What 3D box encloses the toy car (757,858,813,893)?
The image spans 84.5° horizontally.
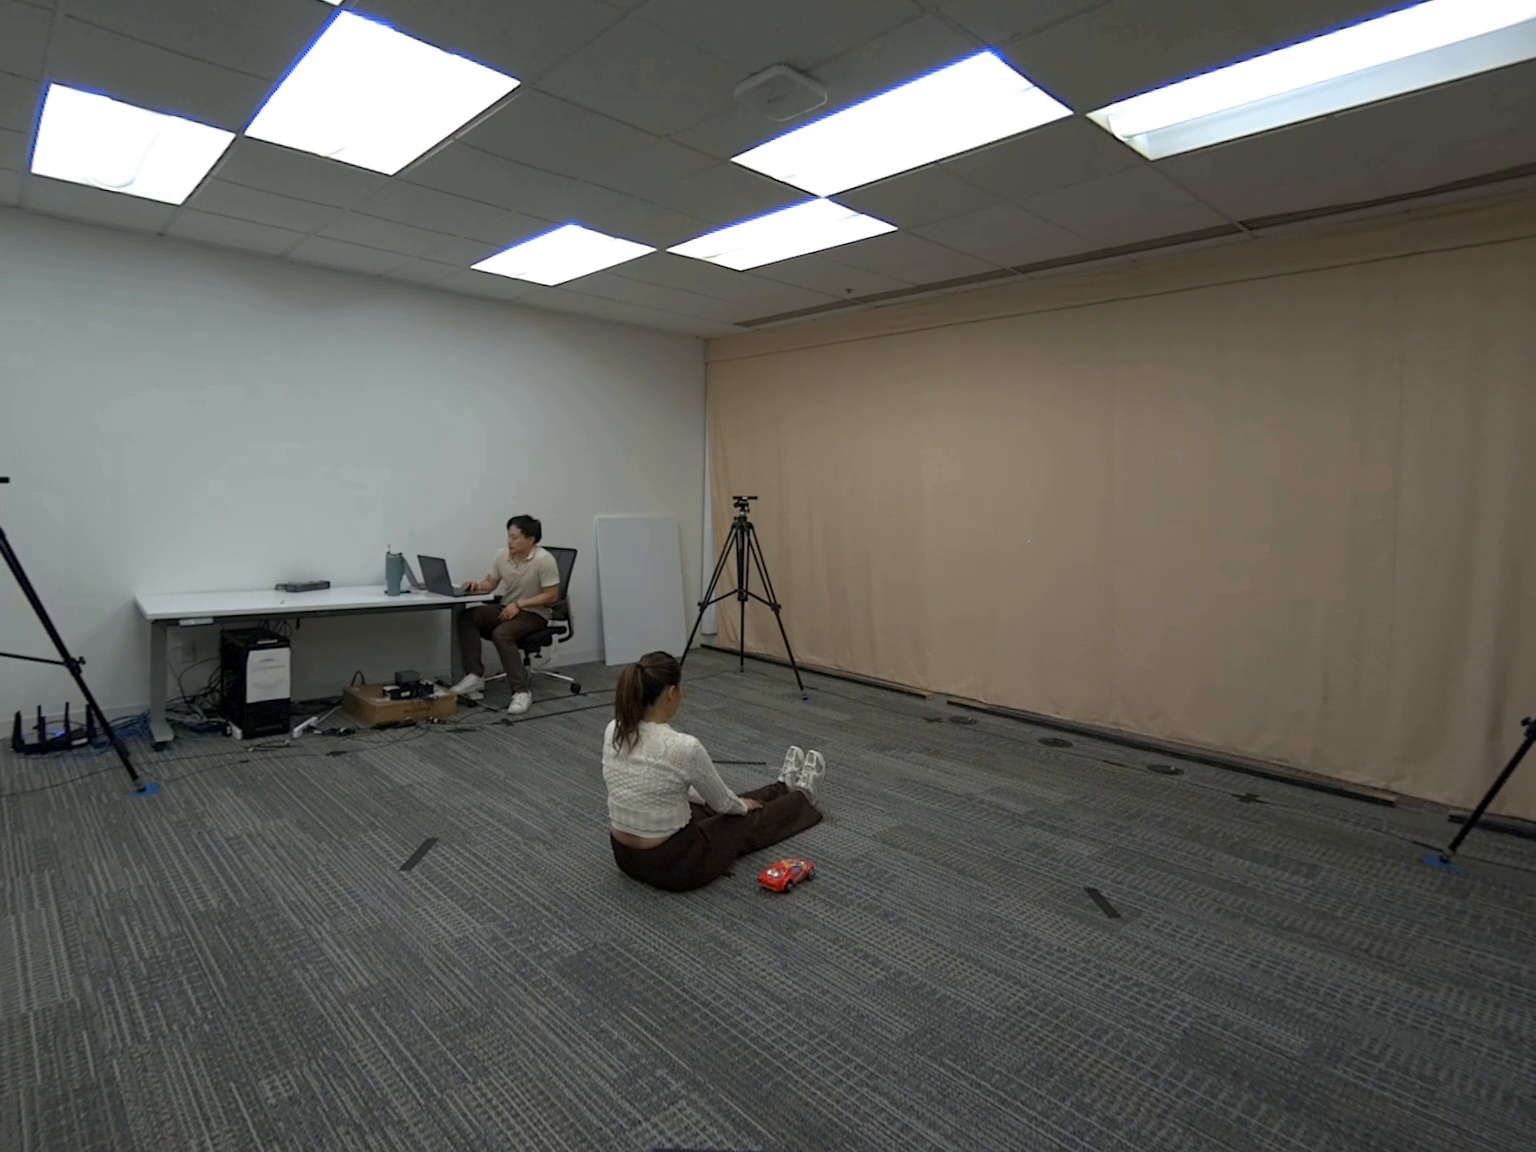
[{"bbox_3d":[0.049,1.081,3.033,0.133,0.083,0.247,6,-4,38],"label":"toy car"}]
